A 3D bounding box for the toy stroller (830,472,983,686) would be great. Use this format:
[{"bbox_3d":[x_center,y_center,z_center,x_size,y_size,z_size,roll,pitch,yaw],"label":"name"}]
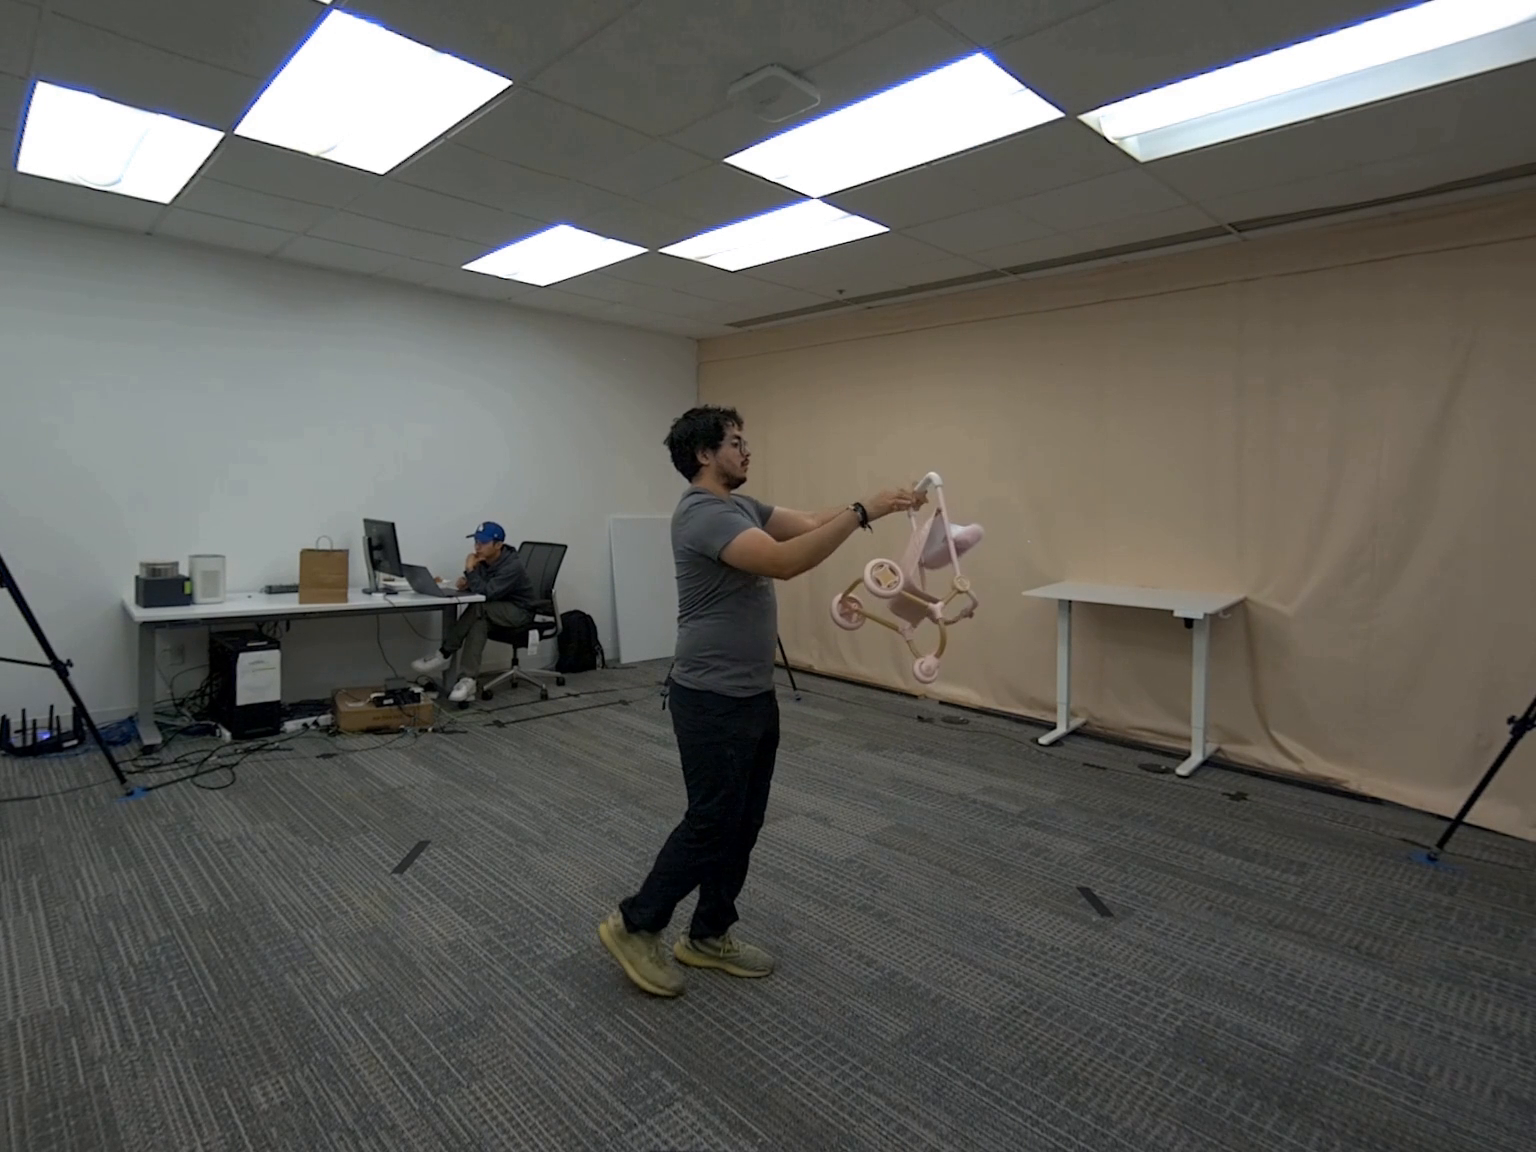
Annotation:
[{"bbox_3d":[0.430,0.011,2.339,0.344,0.536,0.278,35,-28,7],"label":"toy stroller"}]
